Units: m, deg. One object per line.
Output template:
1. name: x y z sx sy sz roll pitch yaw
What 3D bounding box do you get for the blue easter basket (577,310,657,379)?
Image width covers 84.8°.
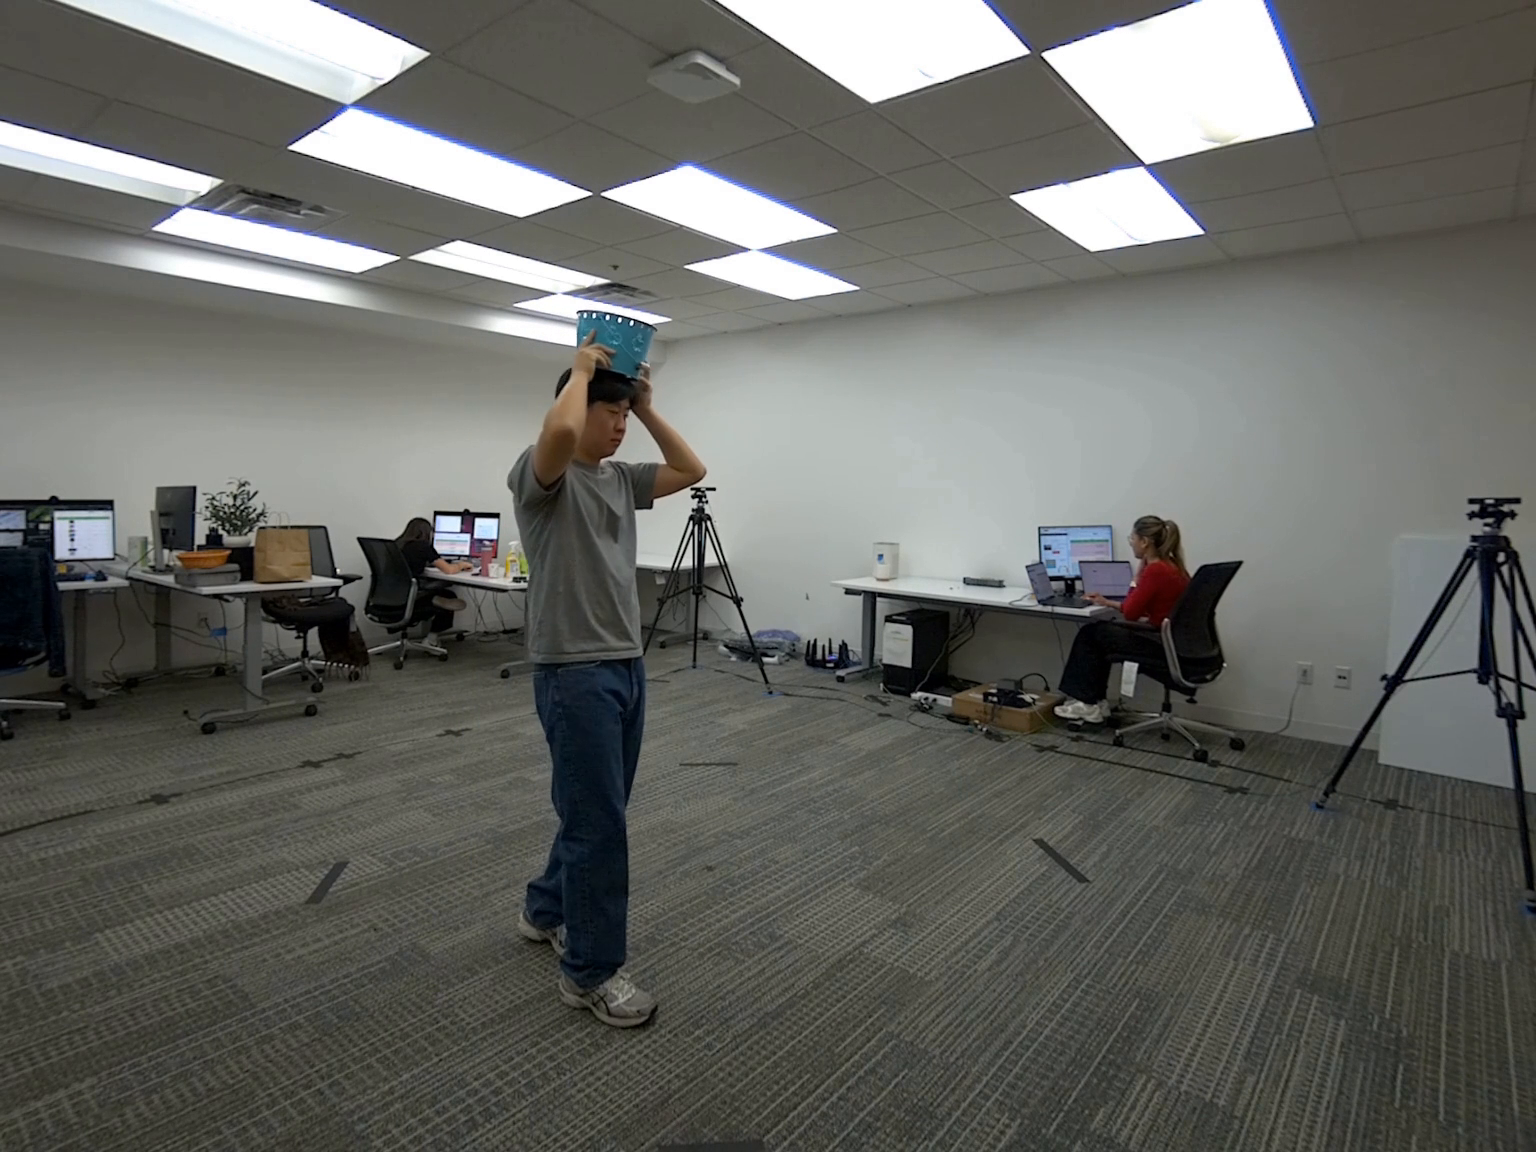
1. blue easter basket: -0.450 -0.647 2.393 0.243 0.155 0.245 12 6 -3
